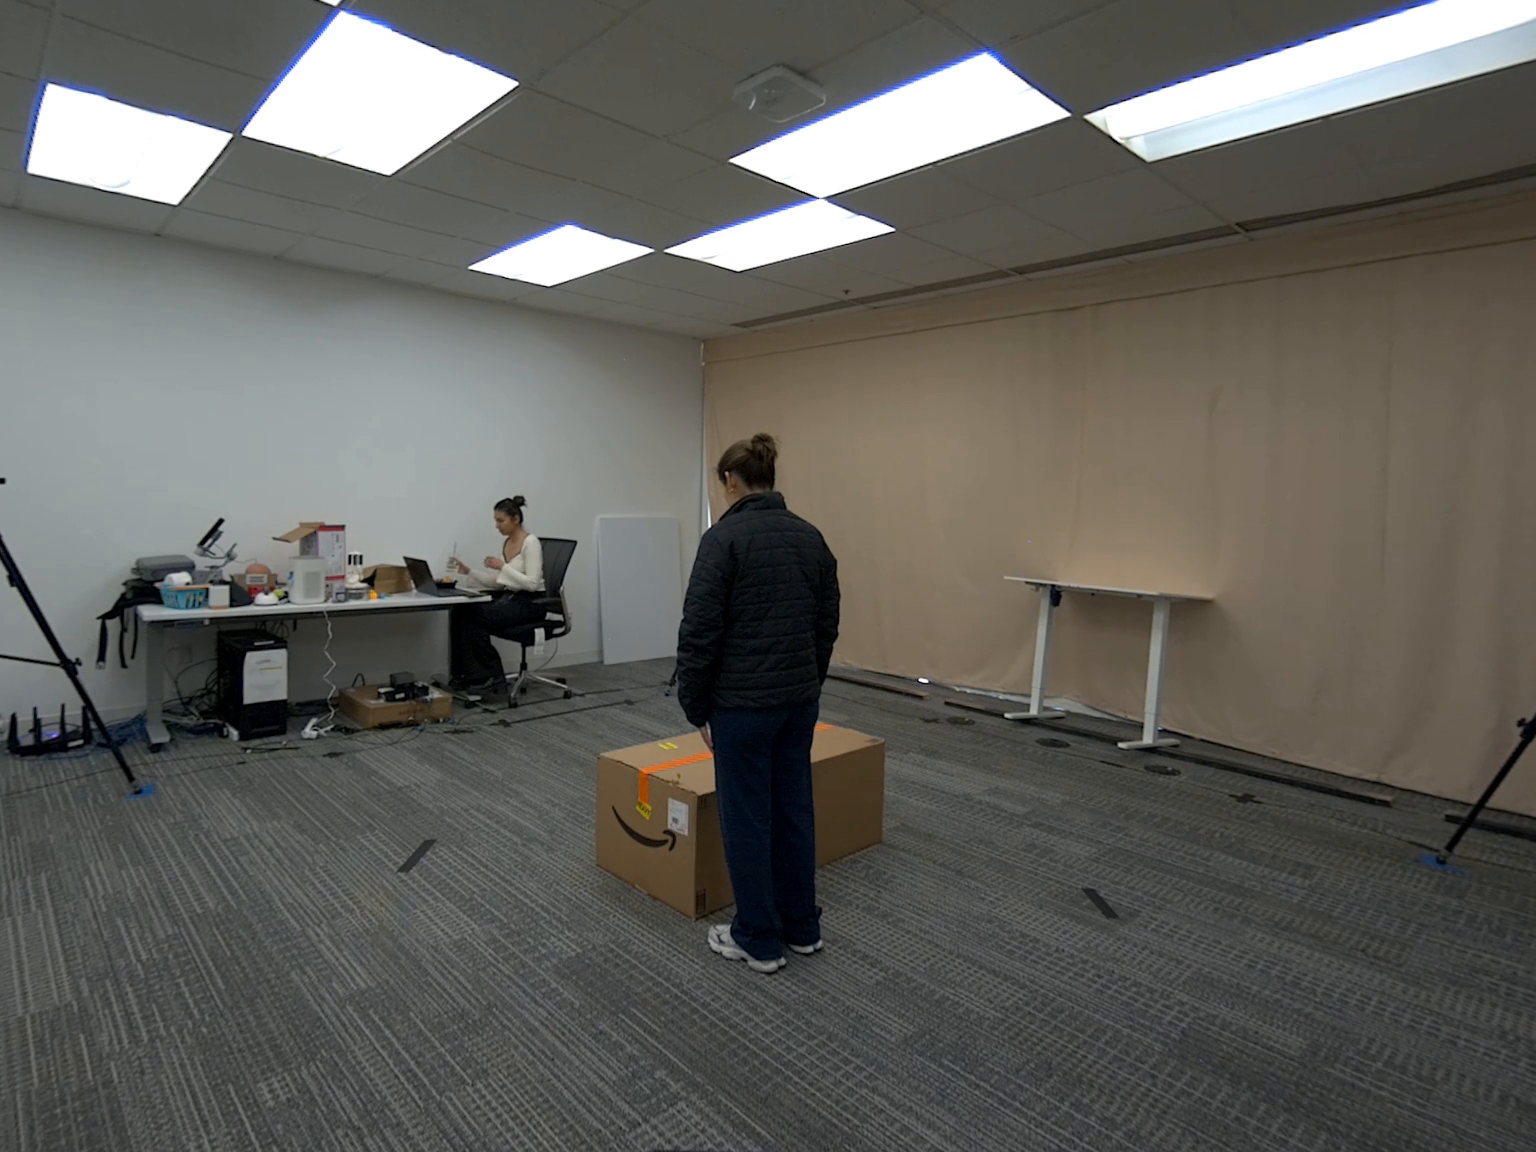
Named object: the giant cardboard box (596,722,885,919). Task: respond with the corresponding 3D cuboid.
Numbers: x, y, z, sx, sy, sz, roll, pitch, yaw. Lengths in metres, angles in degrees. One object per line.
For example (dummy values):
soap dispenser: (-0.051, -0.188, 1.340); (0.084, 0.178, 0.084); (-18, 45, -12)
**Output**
giant cardboard box: (-0.091, 0.883, 3.294); (1.003, 0.445, 0.599); (-2, 7, -45)
